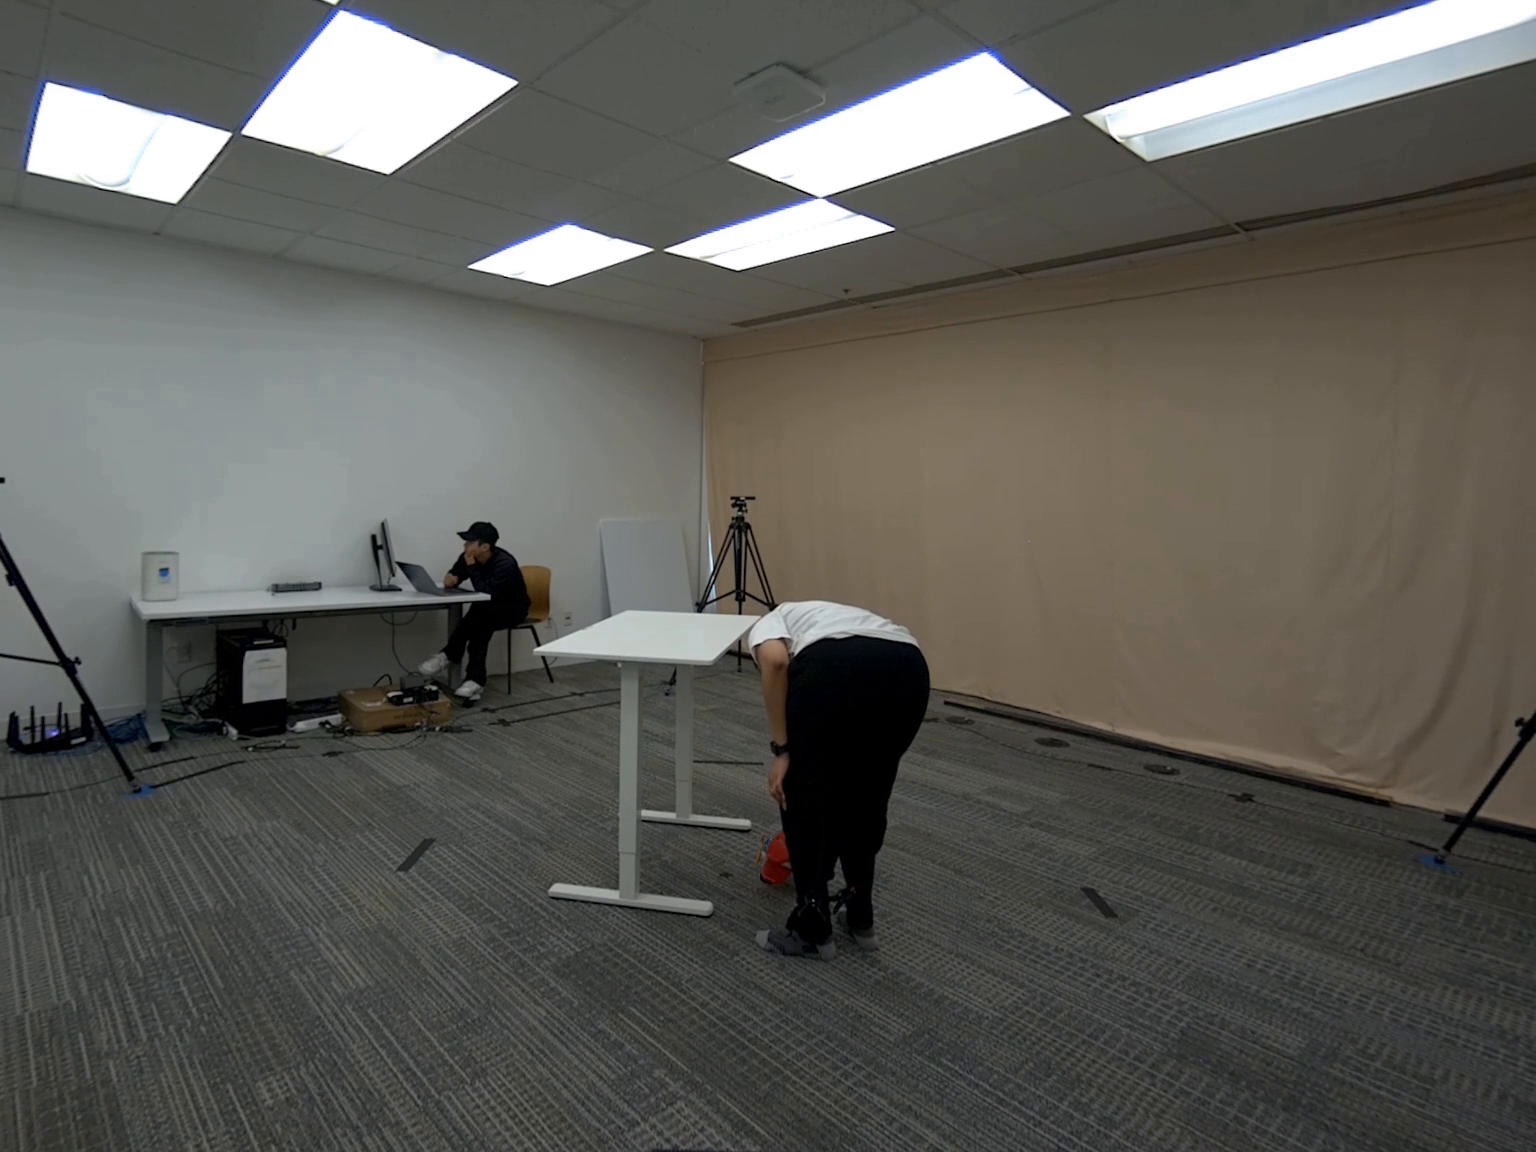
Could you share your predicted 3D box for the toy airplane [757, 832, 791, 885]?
[{"bbox_3d":[0.089,1.023,3.016,0.258,0.155,0.253,-3,7,-6],"label":"toy airplane"}]
